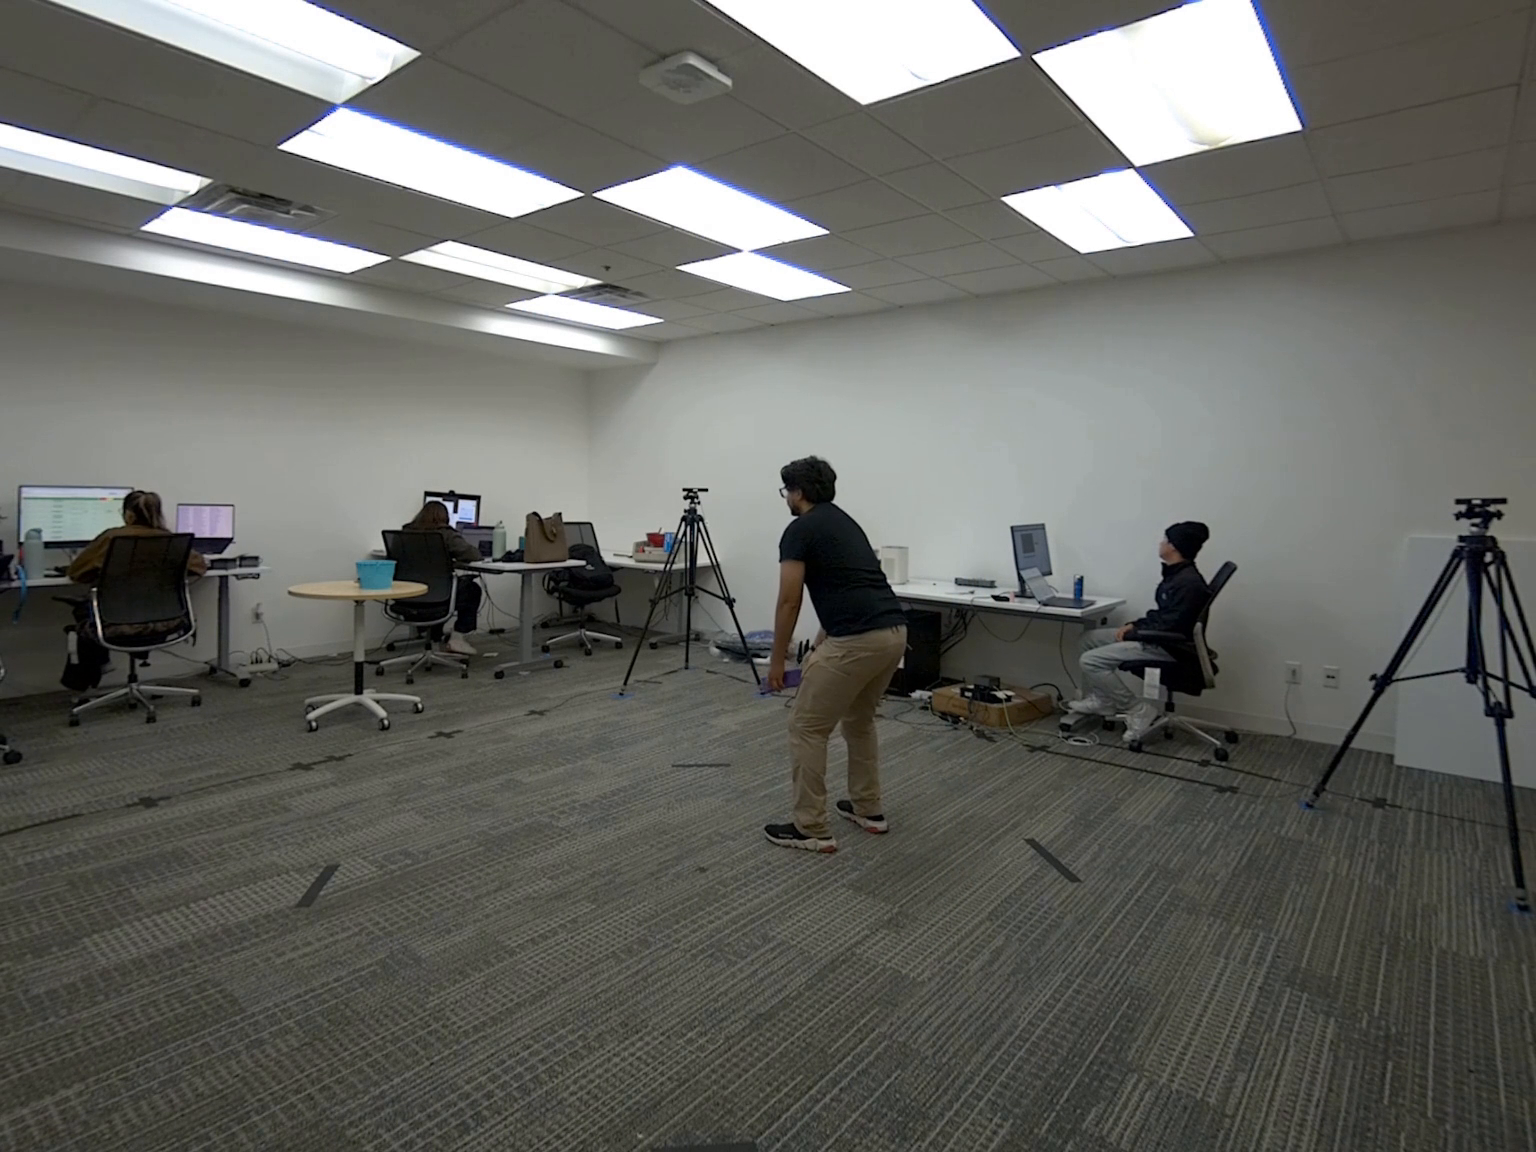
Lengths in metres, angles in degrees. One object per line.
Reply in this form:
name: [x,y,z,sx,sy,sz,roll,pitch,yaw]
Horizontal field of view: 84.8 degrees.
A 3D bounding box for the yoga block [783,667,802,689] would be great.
yoga block: [0.081,0.438,3.657,0.152,0.077,0.222,-16,-9,31]
